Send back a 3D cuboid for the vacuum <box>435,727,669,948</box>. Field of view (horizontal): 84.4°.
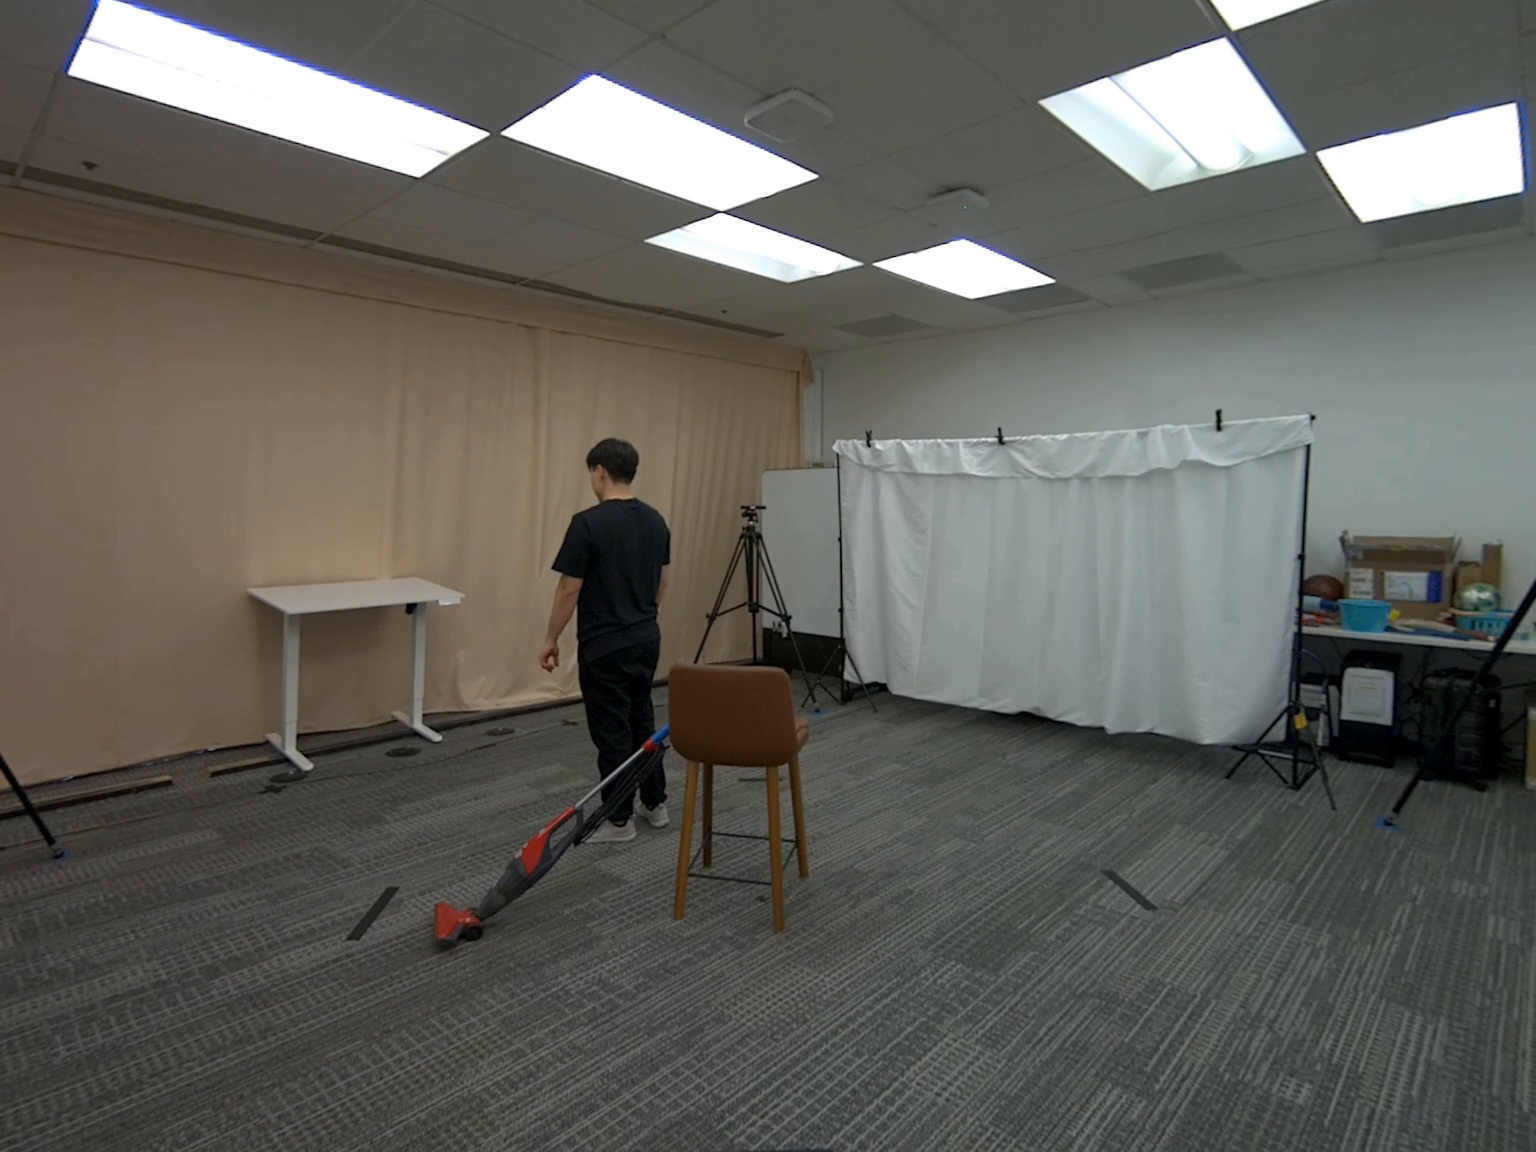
[{"bbox_3d":[-0.632,0.826,2.876,1.043,0.141,0.259,-40,18,-14],"label":"vacuum"}]
